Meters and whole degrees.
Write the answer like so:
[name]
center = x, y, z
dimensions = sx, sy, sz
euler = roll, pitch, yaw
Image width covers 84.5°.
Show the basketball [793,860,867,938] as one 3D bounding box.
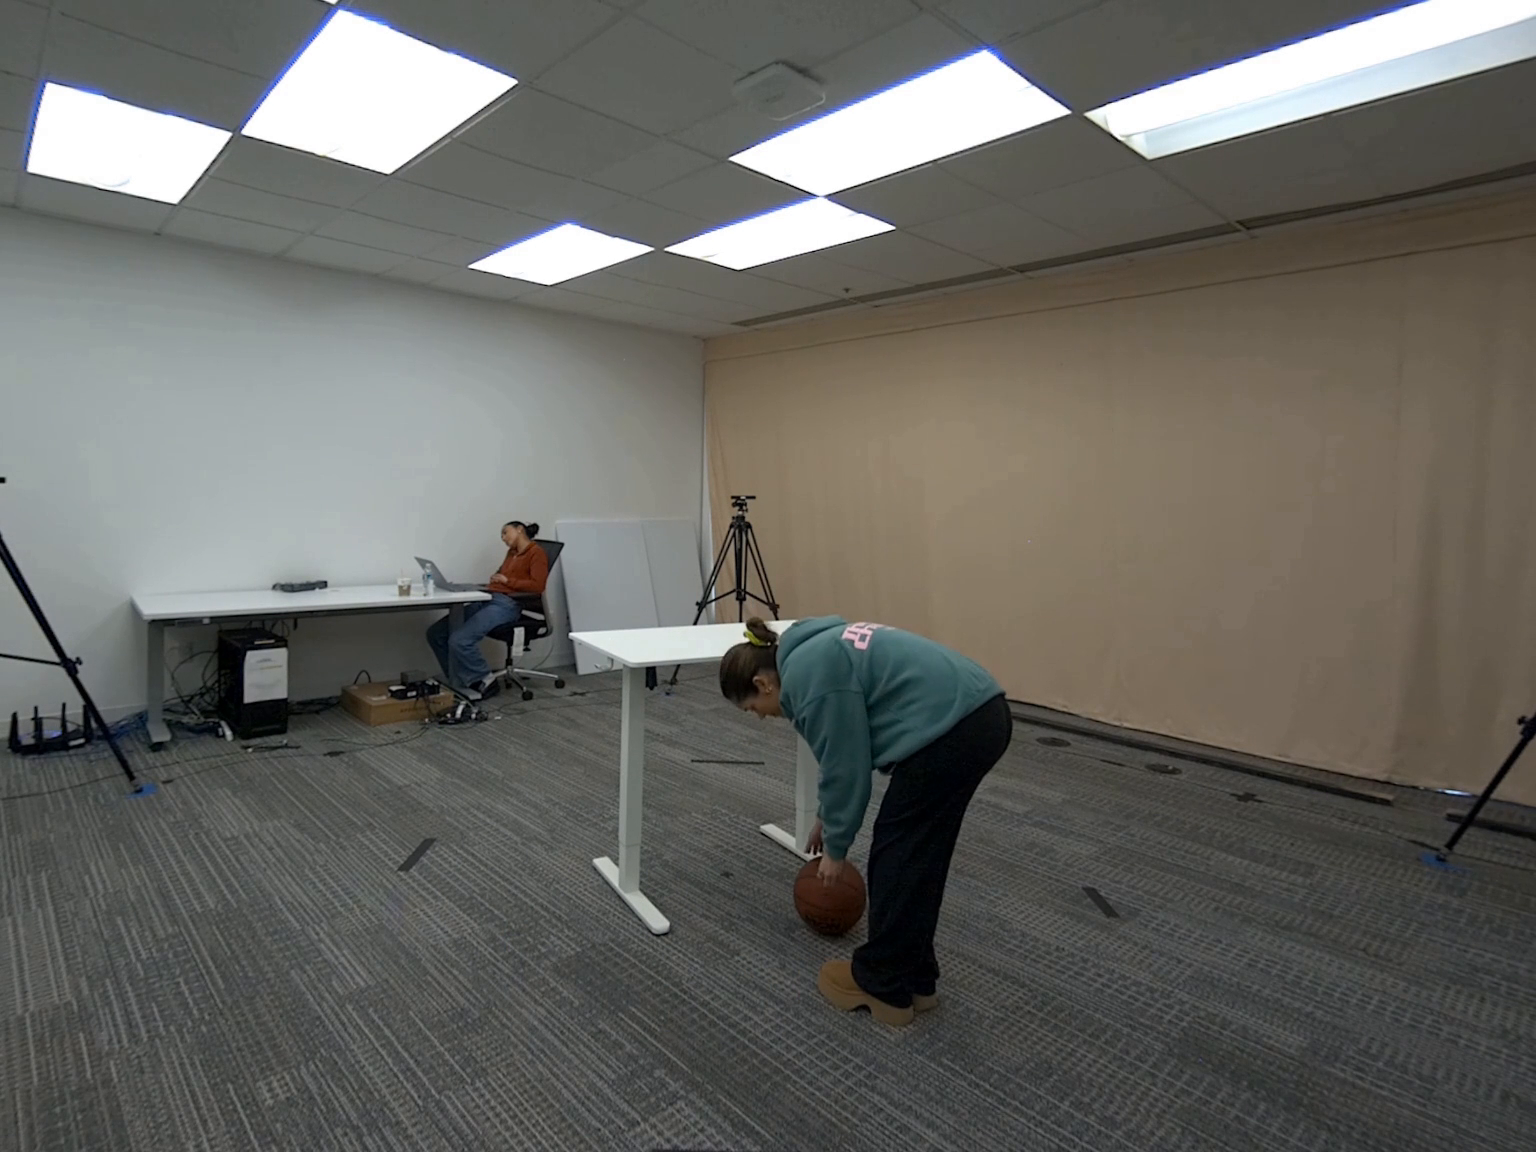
[basketball]
center = 0.196, 1.032, 2.702
dimensions = 0.236, 0.235, 0.237
euler = 1, 4, -1
